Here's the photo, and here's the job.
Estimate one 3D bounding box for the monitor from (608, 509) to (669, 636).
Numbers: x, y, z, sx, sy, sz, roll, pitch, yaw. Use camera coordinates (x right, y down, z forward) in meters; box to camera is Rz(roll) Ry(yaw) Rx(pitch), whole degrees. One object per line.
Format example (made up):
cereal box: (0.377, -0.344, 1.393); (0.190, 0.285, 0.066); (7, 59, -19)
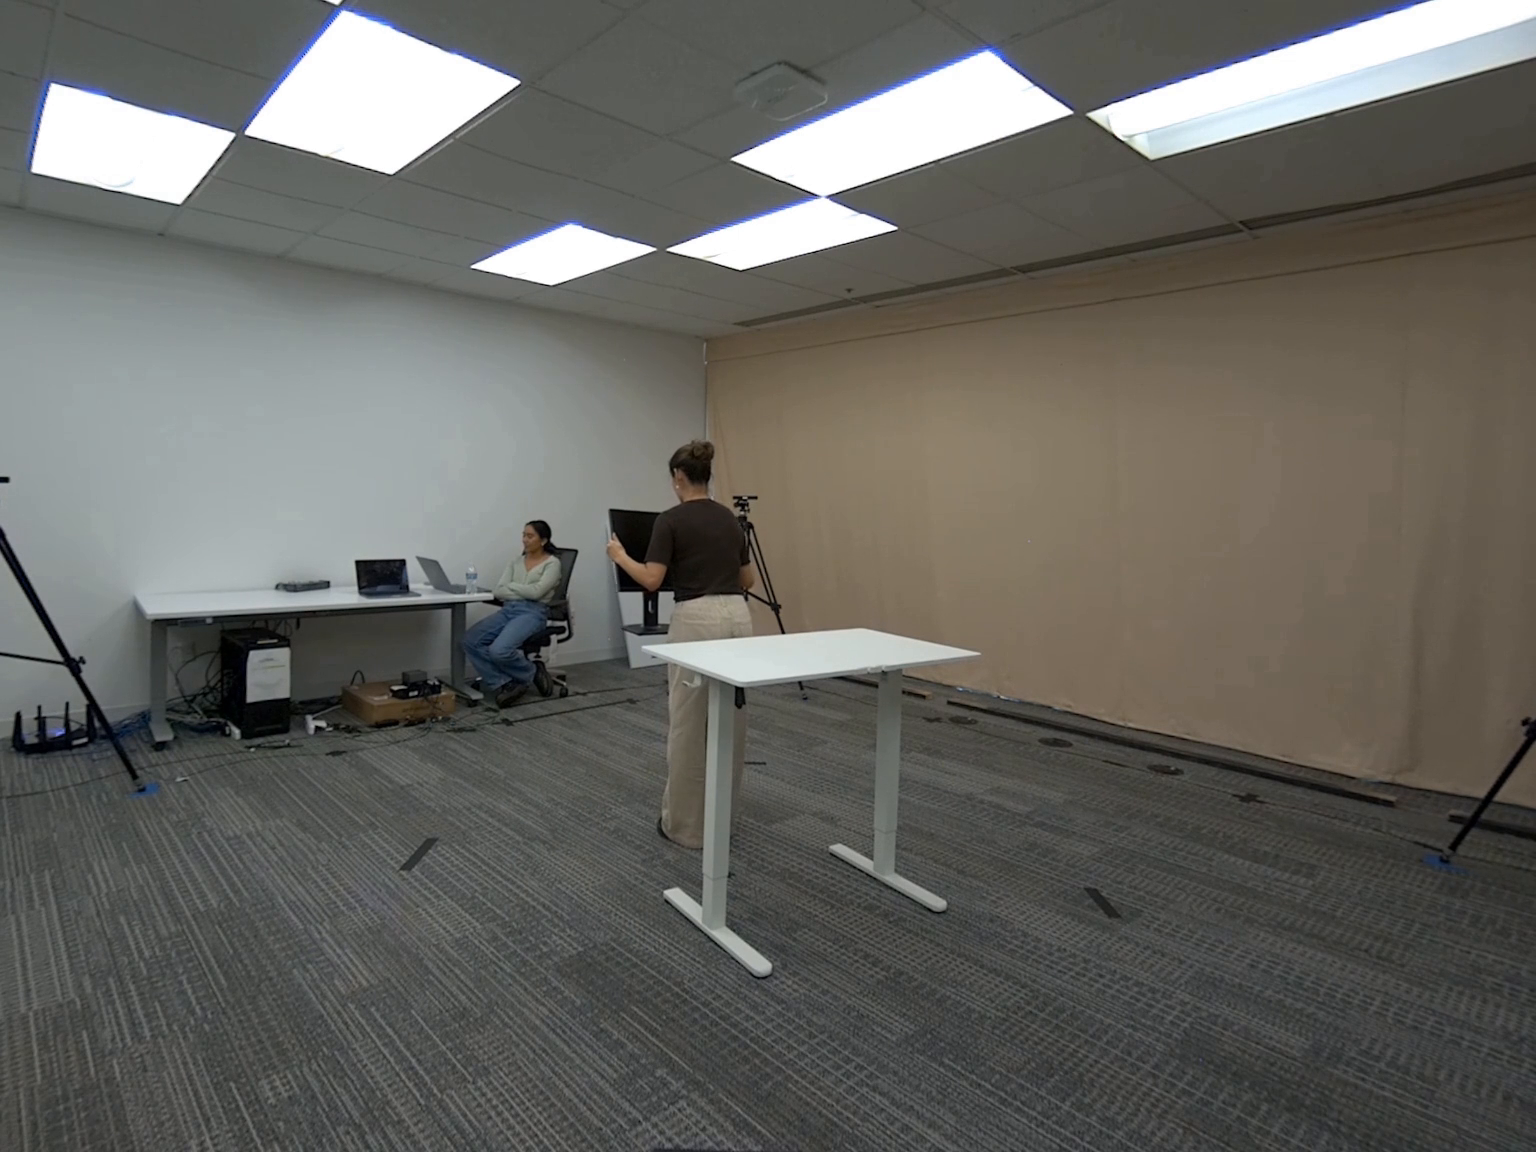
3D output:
monitor: (-0.479, -0.015, 3.668); (0.192, 0.522, 0.526); (4, 1, 43)
